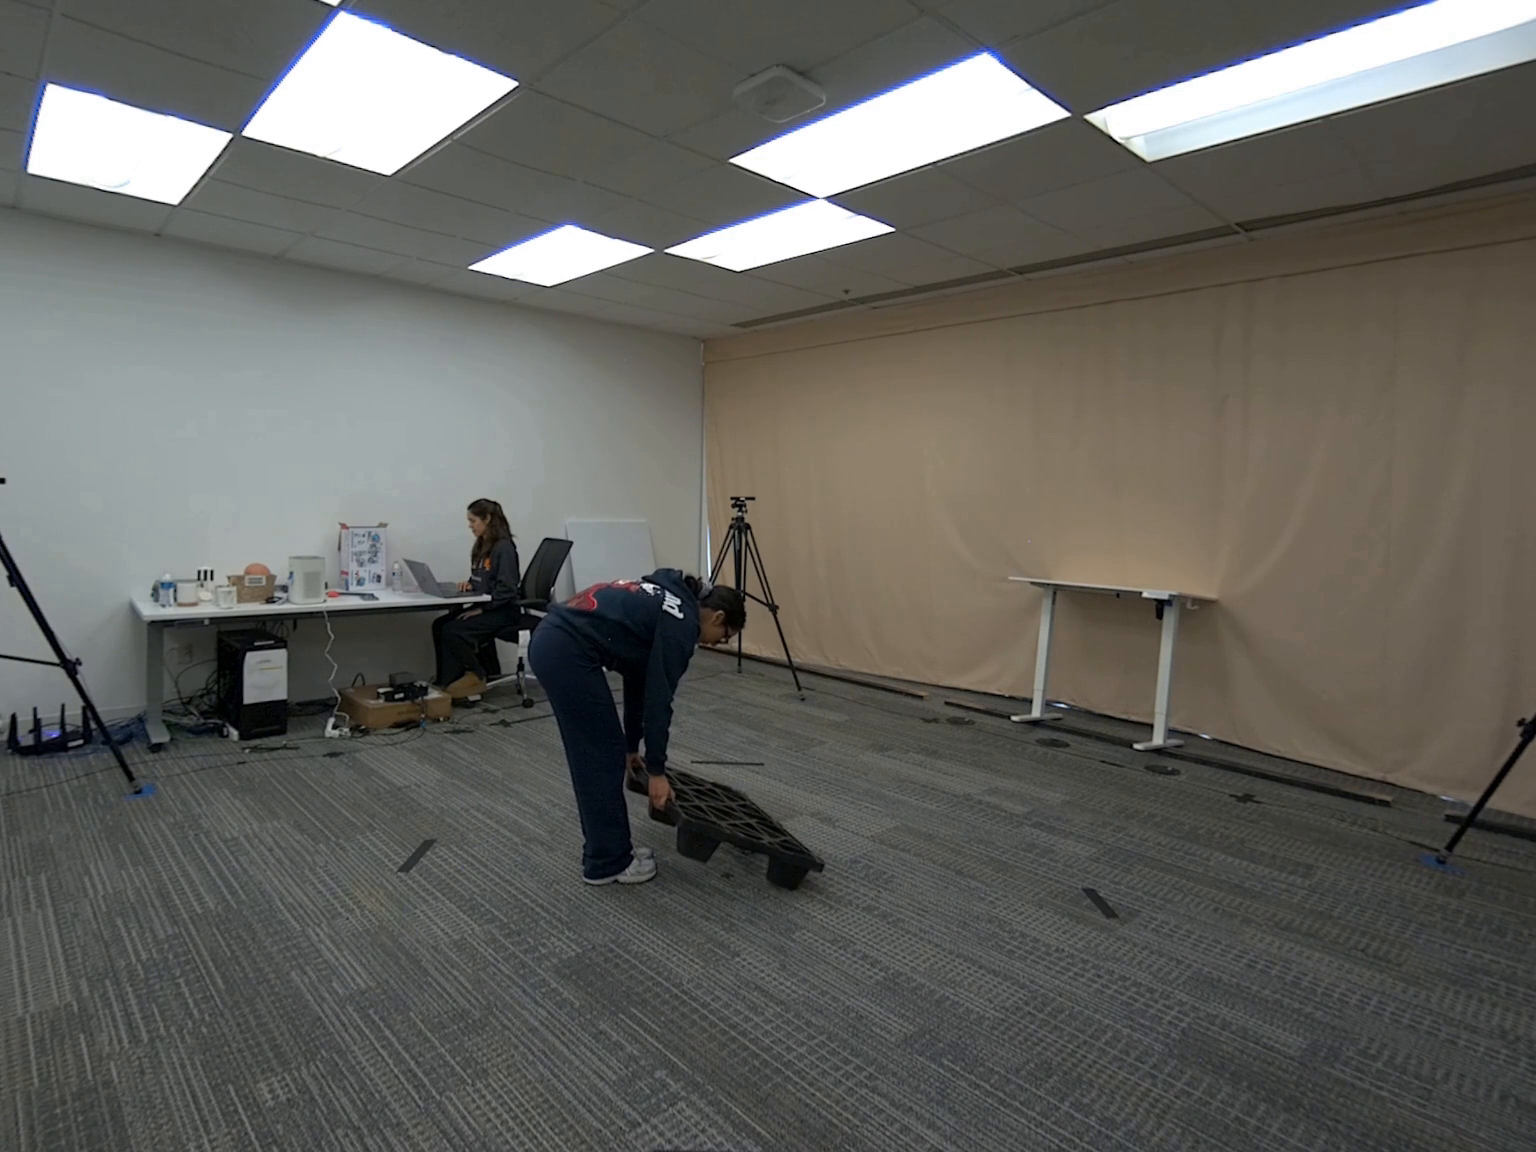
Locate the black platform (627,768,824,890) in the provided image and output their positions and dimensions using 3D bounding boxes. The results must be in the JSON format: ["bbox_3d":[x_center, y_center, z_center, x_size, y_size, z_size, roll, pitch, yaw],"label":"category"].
[{"bbox_3d":[-0.232,0.938,3.251,0.592,0.143,0.822,26,-6,-23],"label":"black platform"}]
